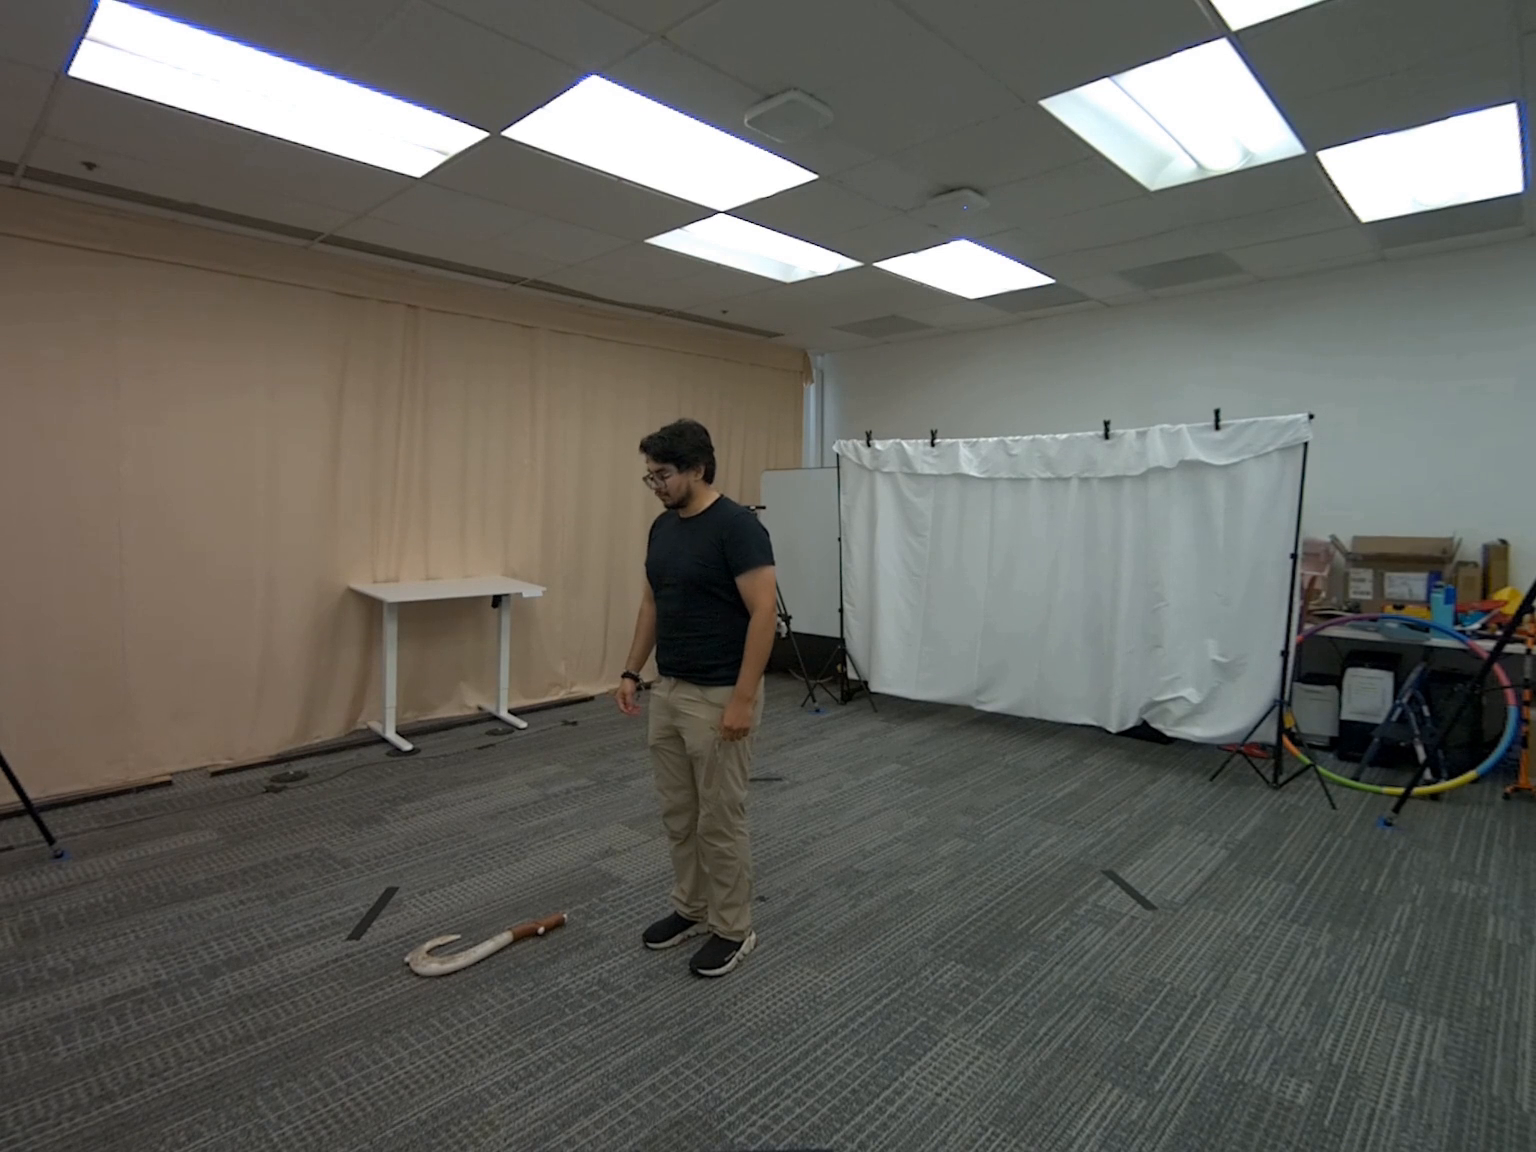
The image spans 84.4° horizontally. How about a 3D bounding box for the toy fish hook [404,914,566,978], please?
[{"bbox_3d":[-0.896,1.161,2.691,0.491,0.048,0.232,-3,6,-40],"label":"toy fish hook"}]
